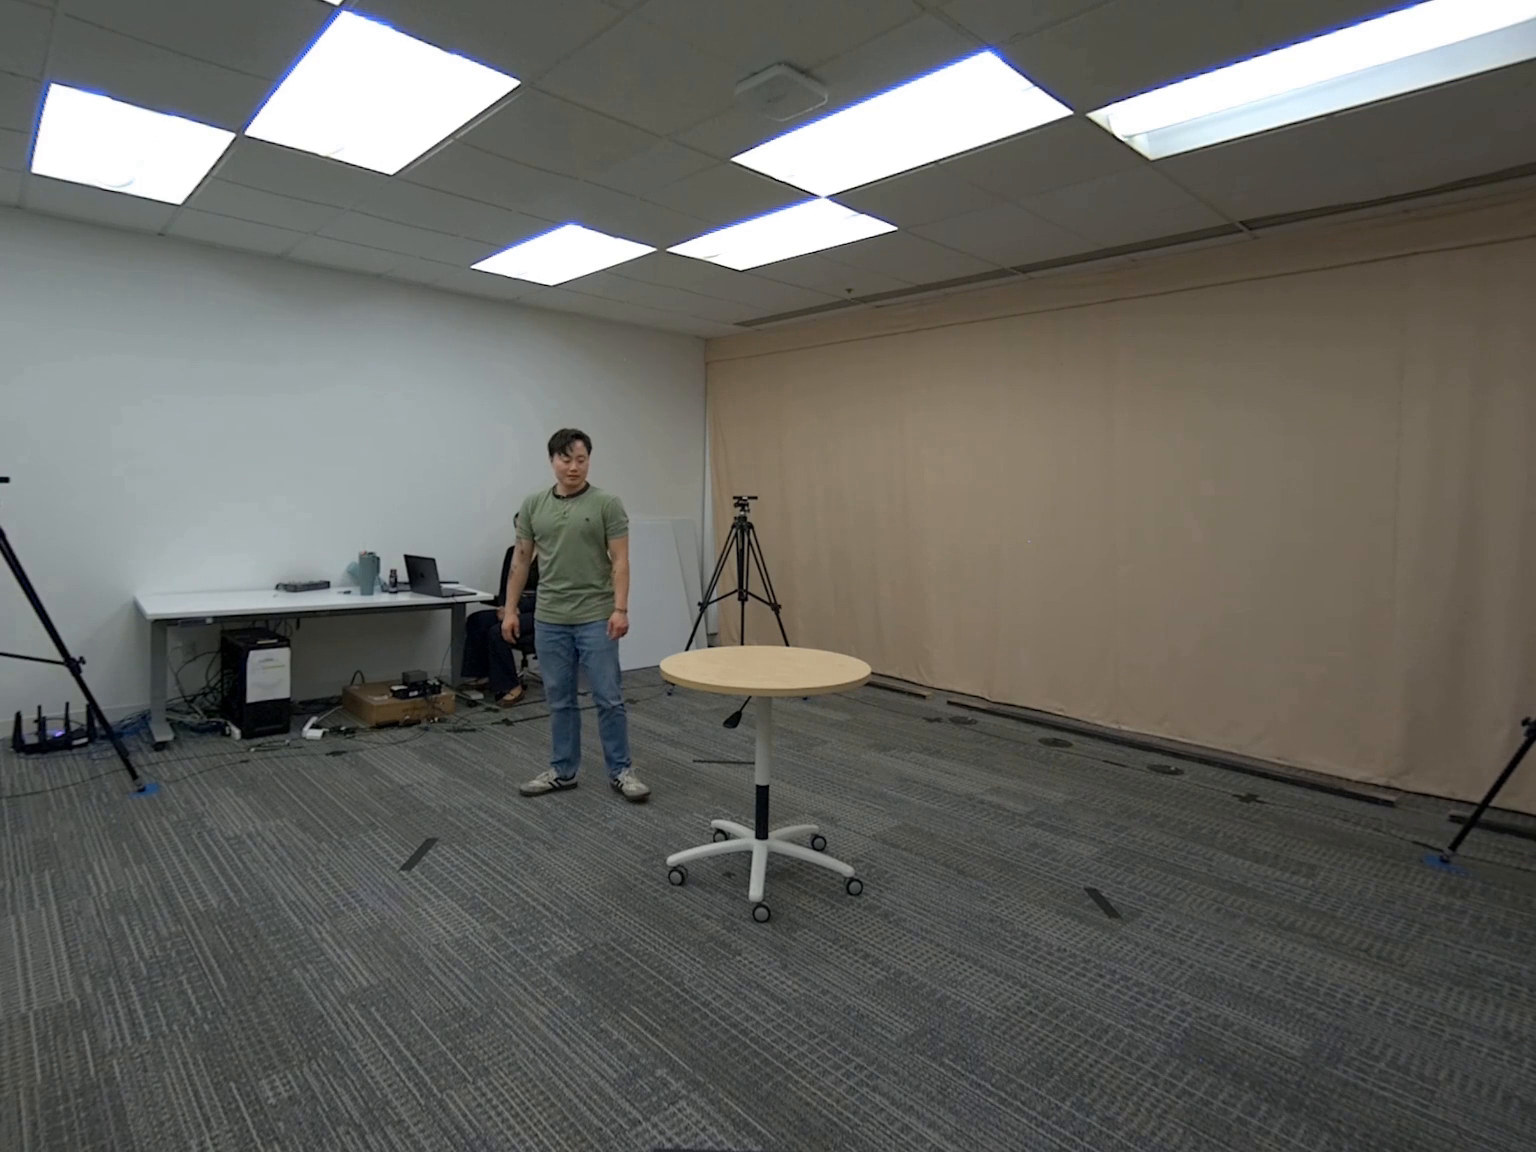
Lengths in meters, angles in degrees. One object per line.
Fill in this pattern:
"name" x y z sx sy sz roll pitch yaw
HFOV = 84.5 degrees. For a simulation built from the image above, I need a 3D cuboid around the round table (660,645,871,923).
"round table" -0.024 0.716 3.083 0.763 0.792 0.766 1 4 -1
